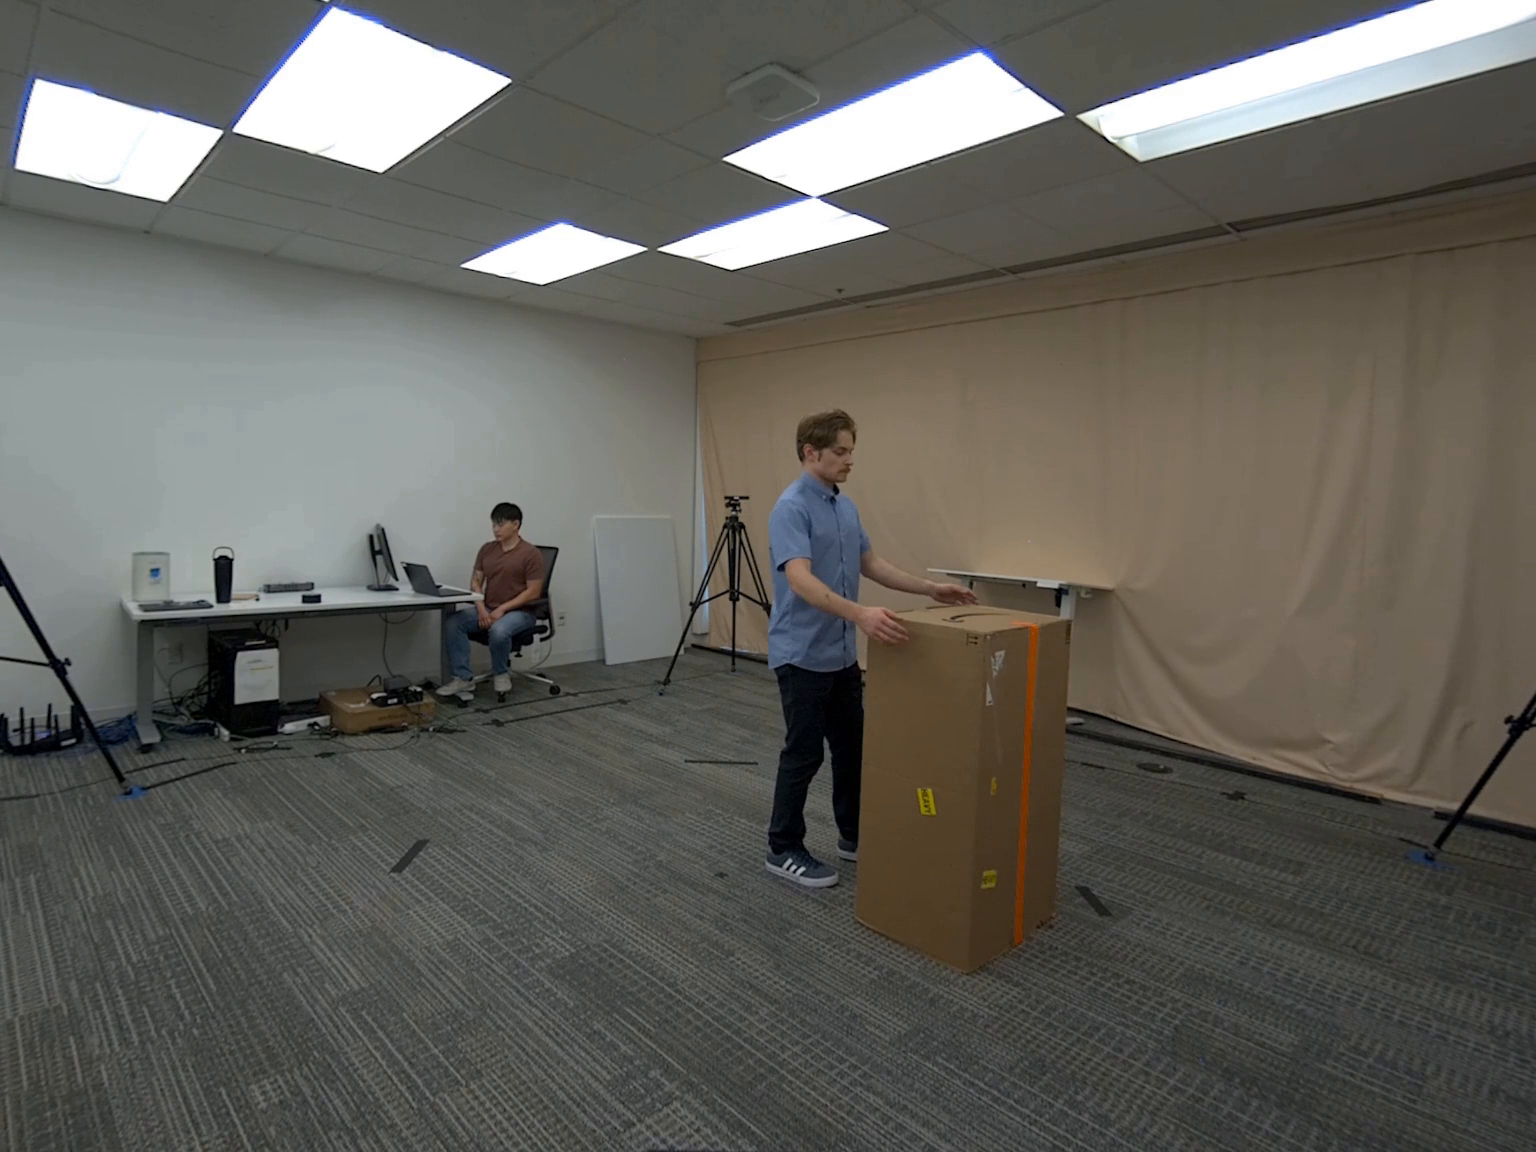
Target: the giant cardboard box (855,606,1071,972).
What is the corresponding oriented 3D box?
[{"bbox_3d":[0.656,0.646,2.796,0.564,1.024,0.437,-1,4,-45],"label":"giant cardboard box"}]
